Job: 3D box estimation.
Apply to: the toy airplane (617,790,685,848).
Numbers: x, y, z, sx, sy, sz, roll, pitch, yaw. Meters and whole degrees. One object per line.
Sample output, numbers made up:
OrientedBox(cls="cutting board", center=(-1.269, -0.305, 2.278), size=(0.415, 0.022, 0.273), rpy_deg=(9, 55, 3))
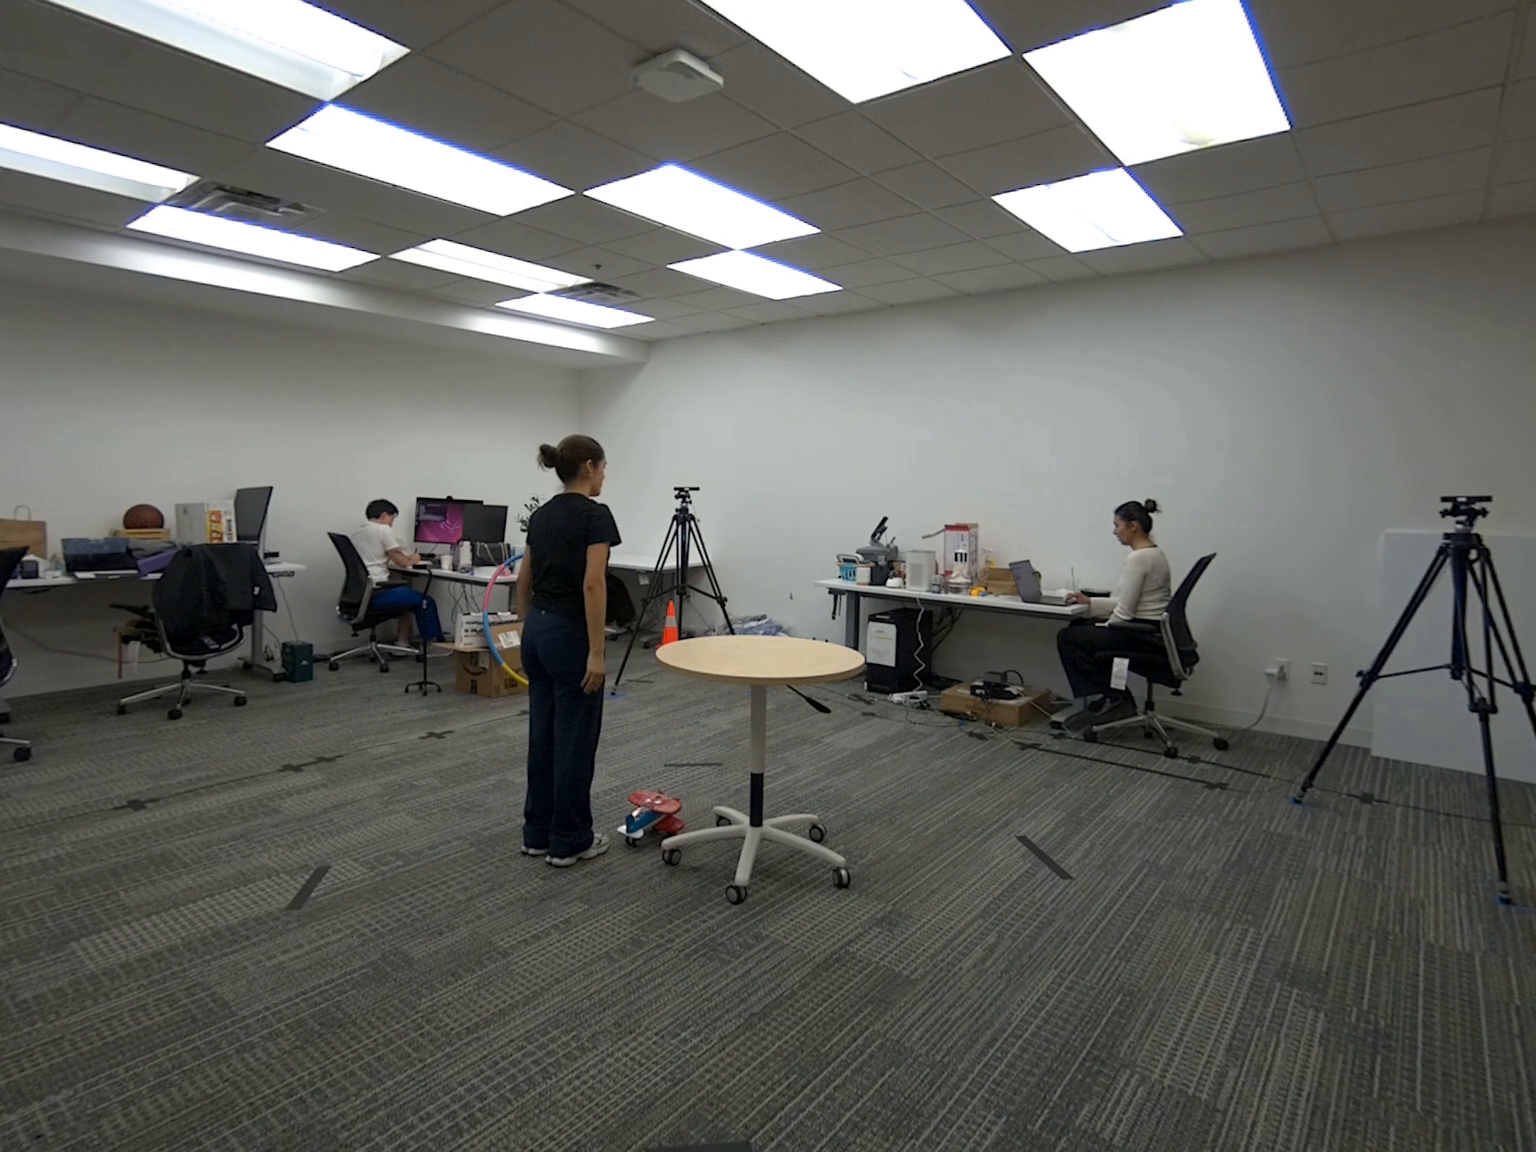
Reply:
OrientedBox(cls="toy airplane", center=(-0.441, 0.963, 3.377), size=(0.254, 0.156, 0.257), rpy_deg=(2, 5, 9))
